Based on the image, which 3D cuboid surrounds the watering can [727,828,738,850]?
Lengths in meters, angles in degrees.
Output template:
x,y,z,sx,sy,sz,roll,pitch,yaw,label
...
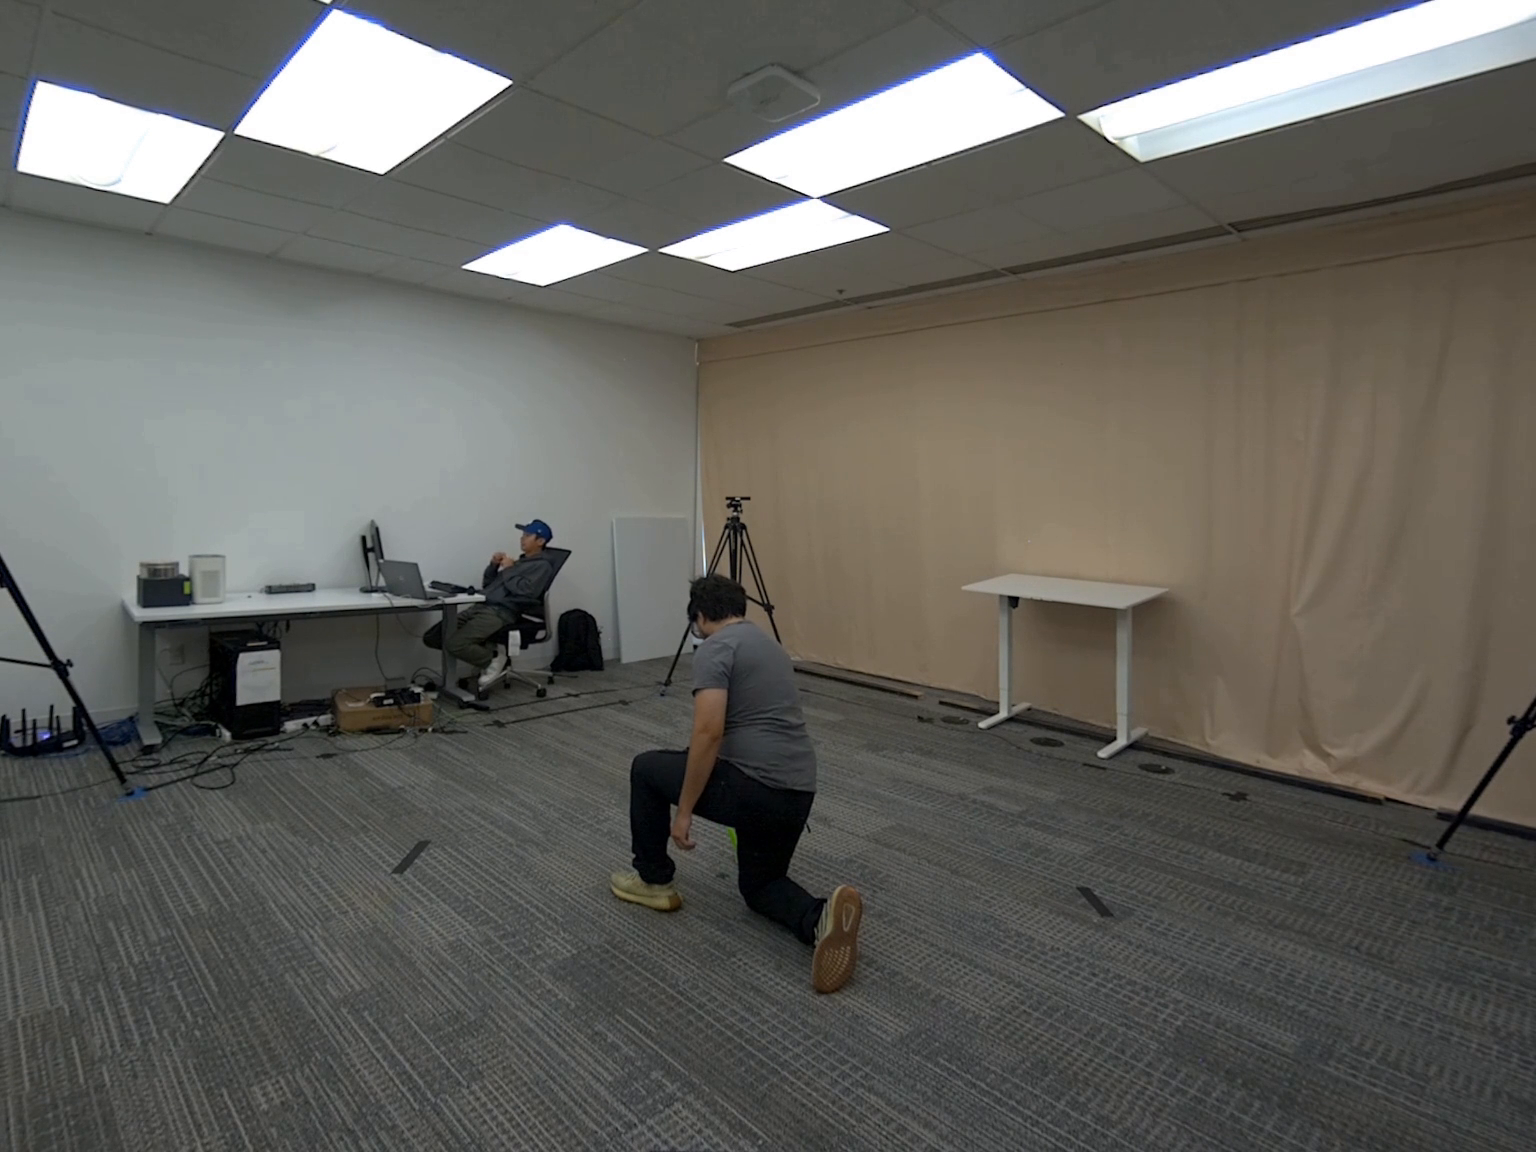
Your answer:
x,y,z,sx,sy,sz,roll,pitch,yaw,label
-0.091,1.013,3.229,0.096,0.176,0.285,1,4,-37,watering can
